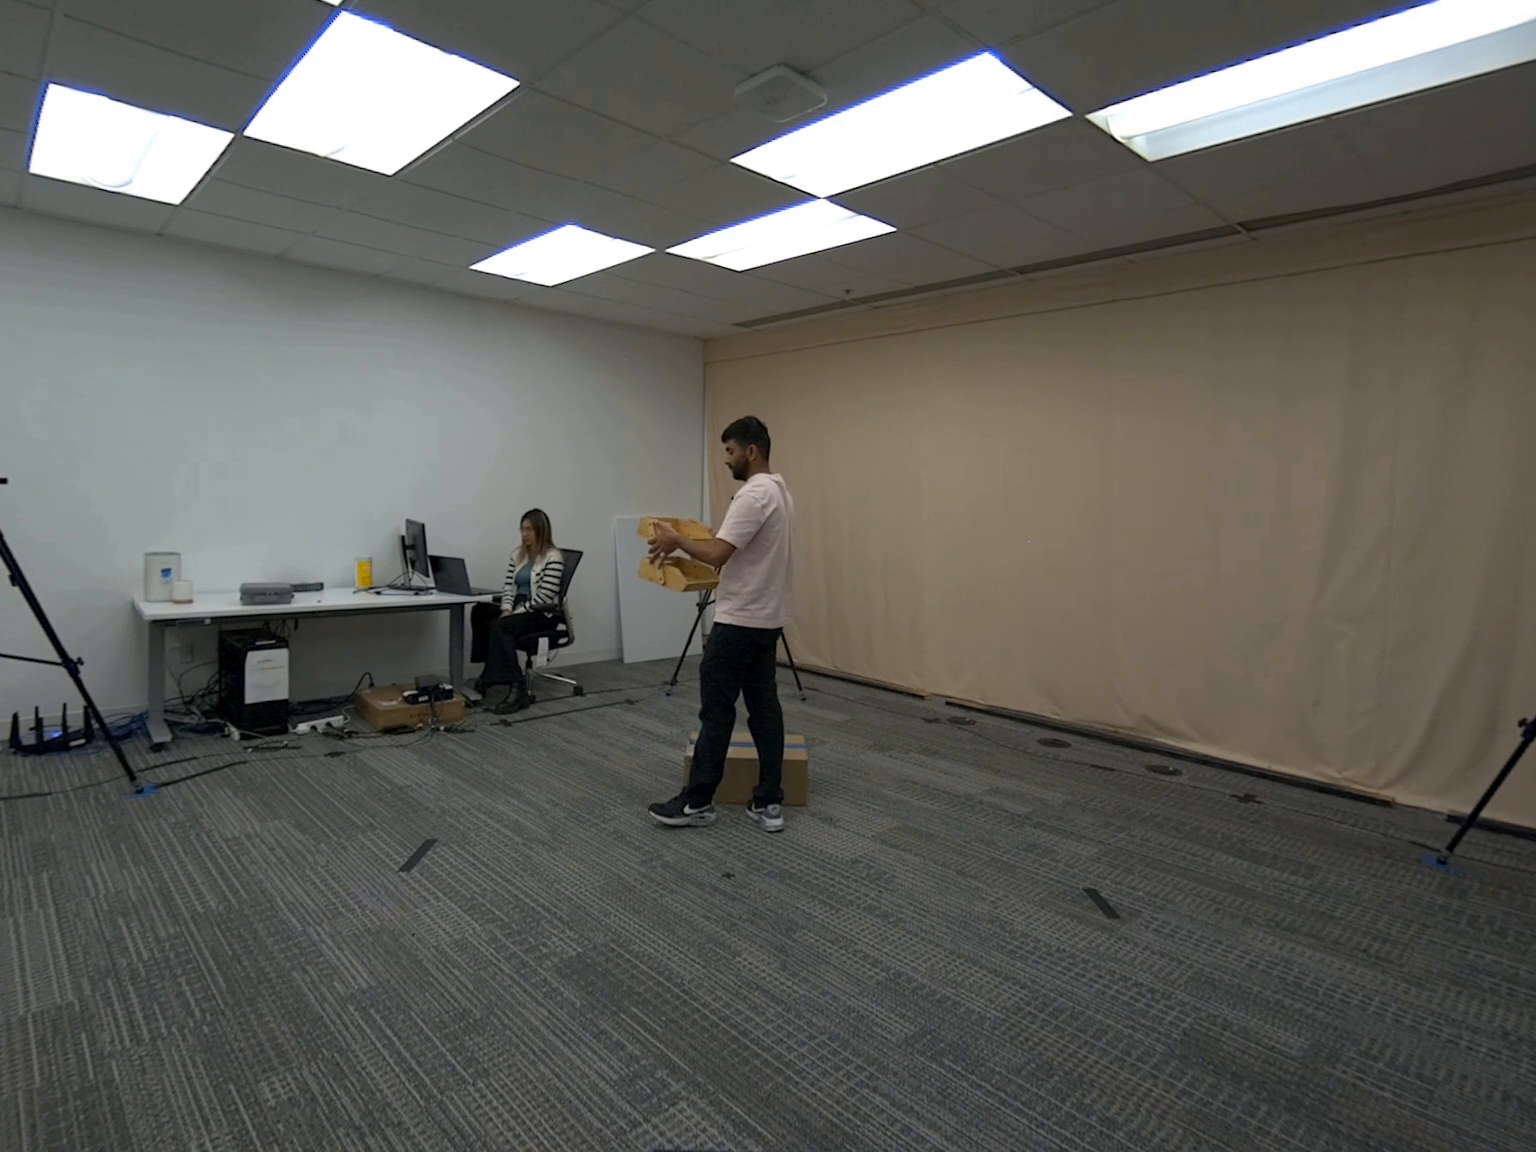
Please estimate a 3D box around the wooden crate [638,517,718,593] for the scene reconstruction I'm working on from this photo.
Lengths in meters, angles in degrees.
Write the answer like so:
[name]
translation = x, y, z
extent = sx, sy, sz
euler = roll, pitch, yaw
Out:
[wooden crate]
translation = -0.385, -0.104, 3.713
extent = 0.309, 0.272, 0.318
euler = 17, 9, 26
